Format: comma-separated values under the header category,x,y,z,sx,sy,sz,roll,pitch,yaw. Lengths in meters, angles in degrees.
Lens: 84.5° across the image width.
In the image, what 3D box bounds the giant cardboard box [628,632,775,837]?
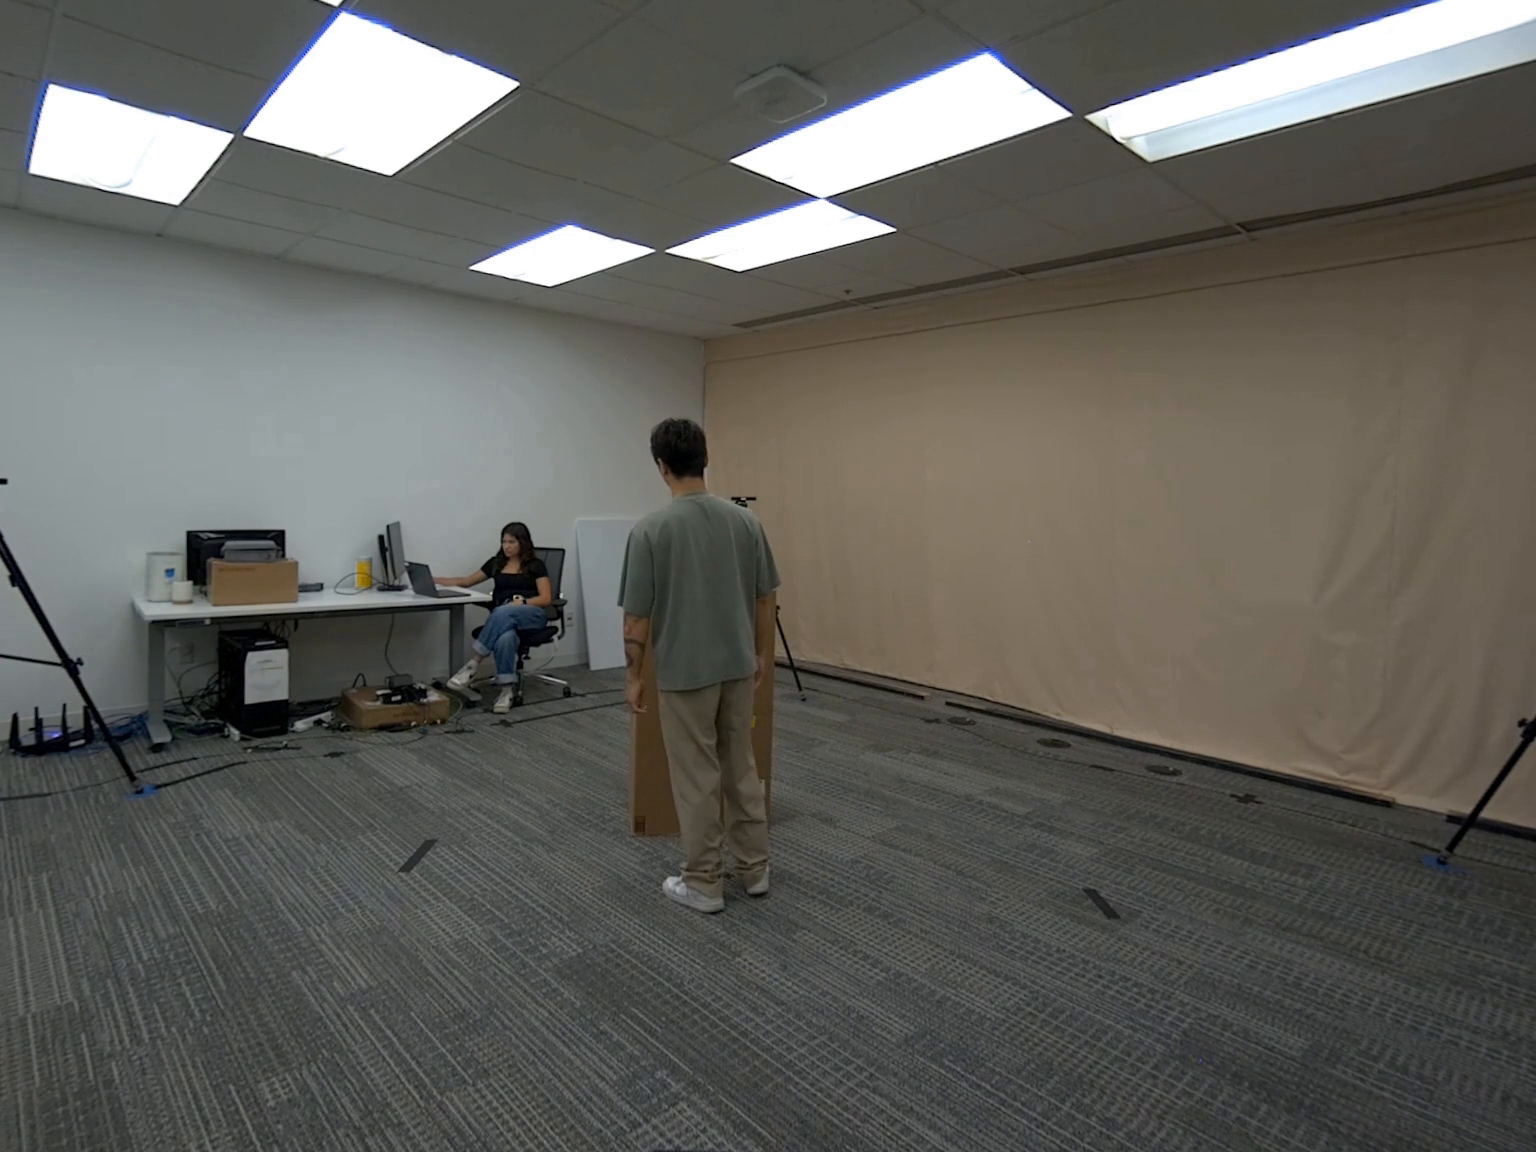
category,x,y,z,sx,sy,sz,roll,pitch,yaw
giant cardboard box,-0.301,0.546,3.671,0.573,1.023,0.430,1,3,-10
